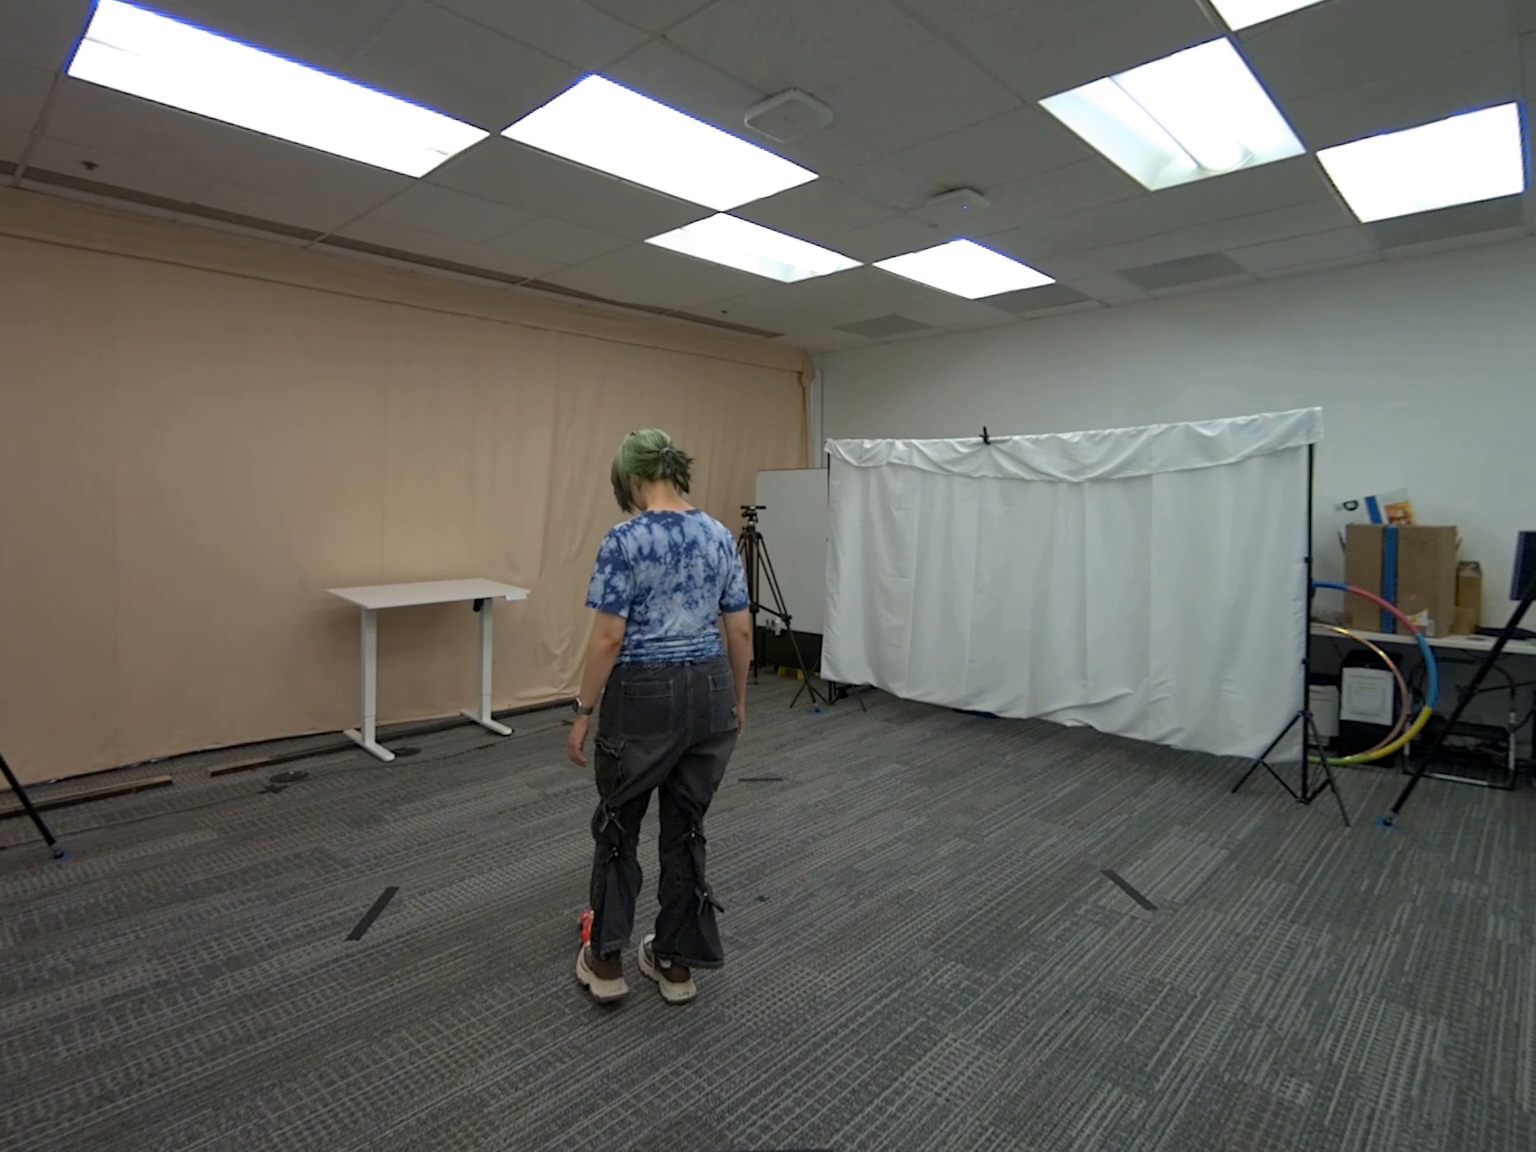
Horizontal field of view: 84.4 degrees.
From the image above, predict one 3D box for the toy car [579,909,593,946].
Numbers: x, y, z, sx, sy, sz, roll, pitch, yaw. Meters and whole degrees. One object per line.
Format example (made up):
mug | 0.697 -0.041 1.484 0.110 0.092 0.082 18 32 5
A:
toy car | -0.547 1.141 2.695 0.128 0.084 0.256 0 -8 -13
